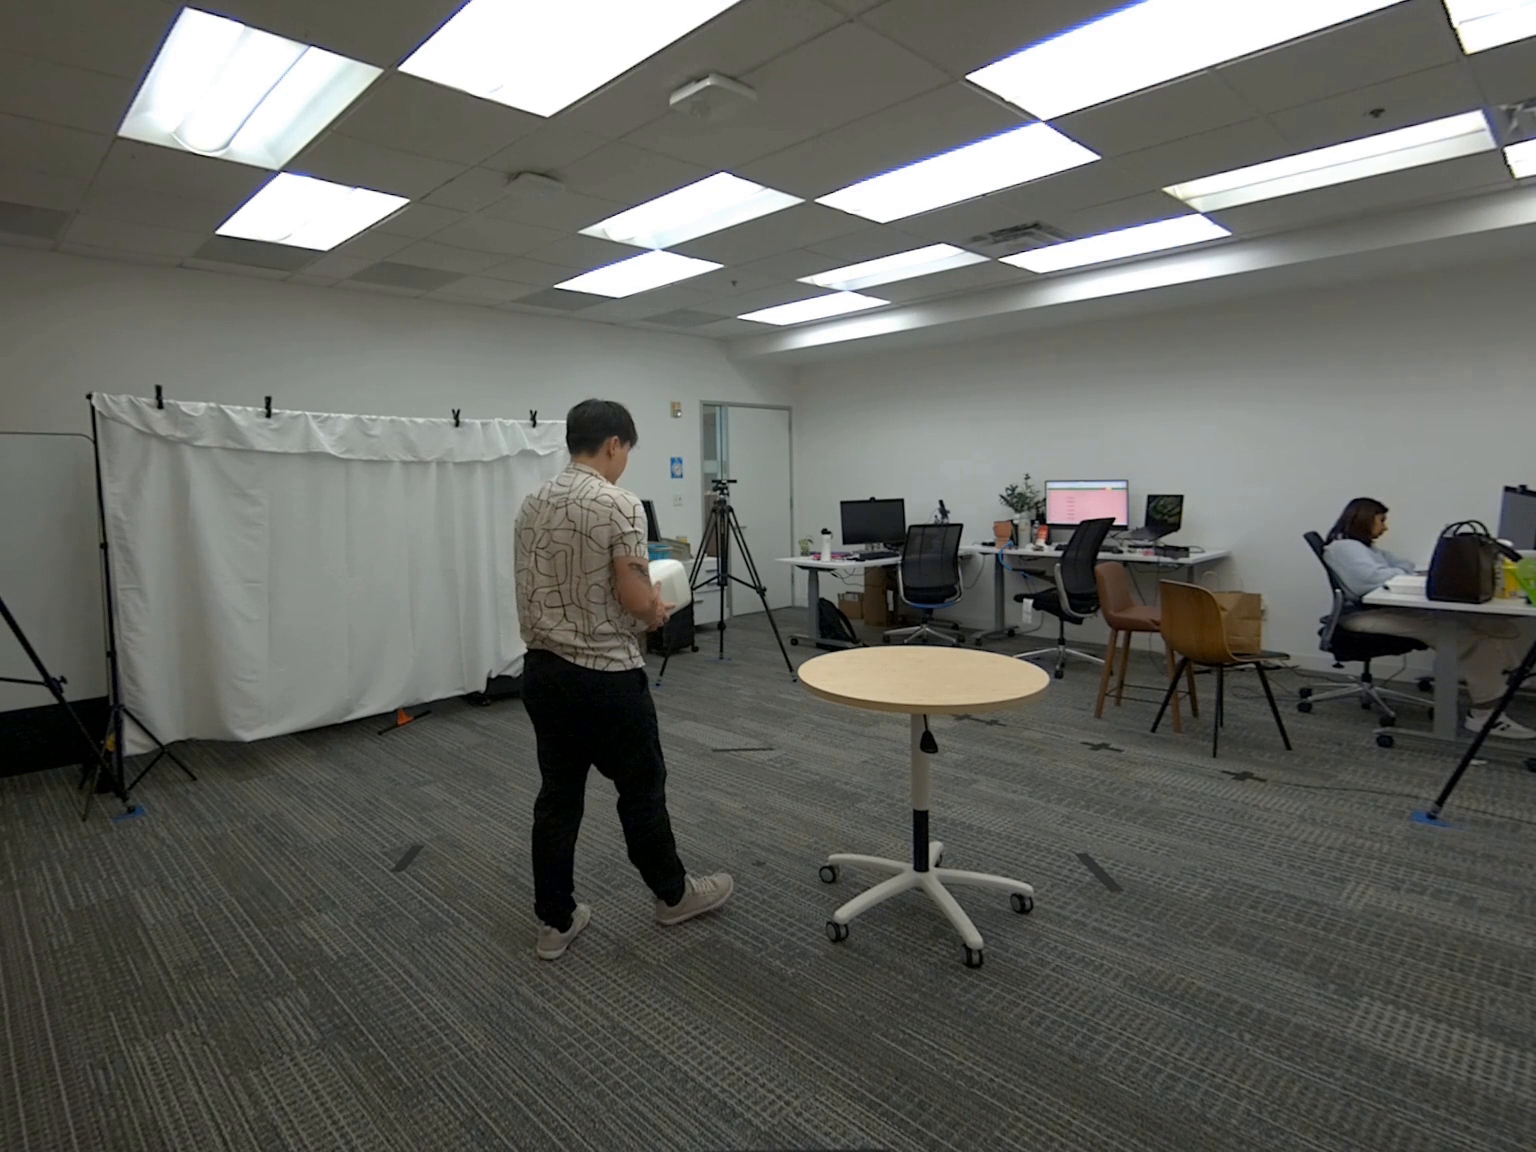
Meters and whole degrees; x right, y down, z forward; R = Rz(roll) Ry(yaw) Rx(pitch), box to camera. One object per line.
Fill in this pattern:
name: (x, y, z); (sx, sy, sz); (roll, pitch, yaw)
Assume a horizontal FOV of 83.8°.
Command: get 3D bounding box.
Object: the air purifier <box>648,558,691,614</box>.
air purifier: (-0.400, 0.059, 2.811); (0.175, 0.169, 0.262); (-3, 15, 29)
